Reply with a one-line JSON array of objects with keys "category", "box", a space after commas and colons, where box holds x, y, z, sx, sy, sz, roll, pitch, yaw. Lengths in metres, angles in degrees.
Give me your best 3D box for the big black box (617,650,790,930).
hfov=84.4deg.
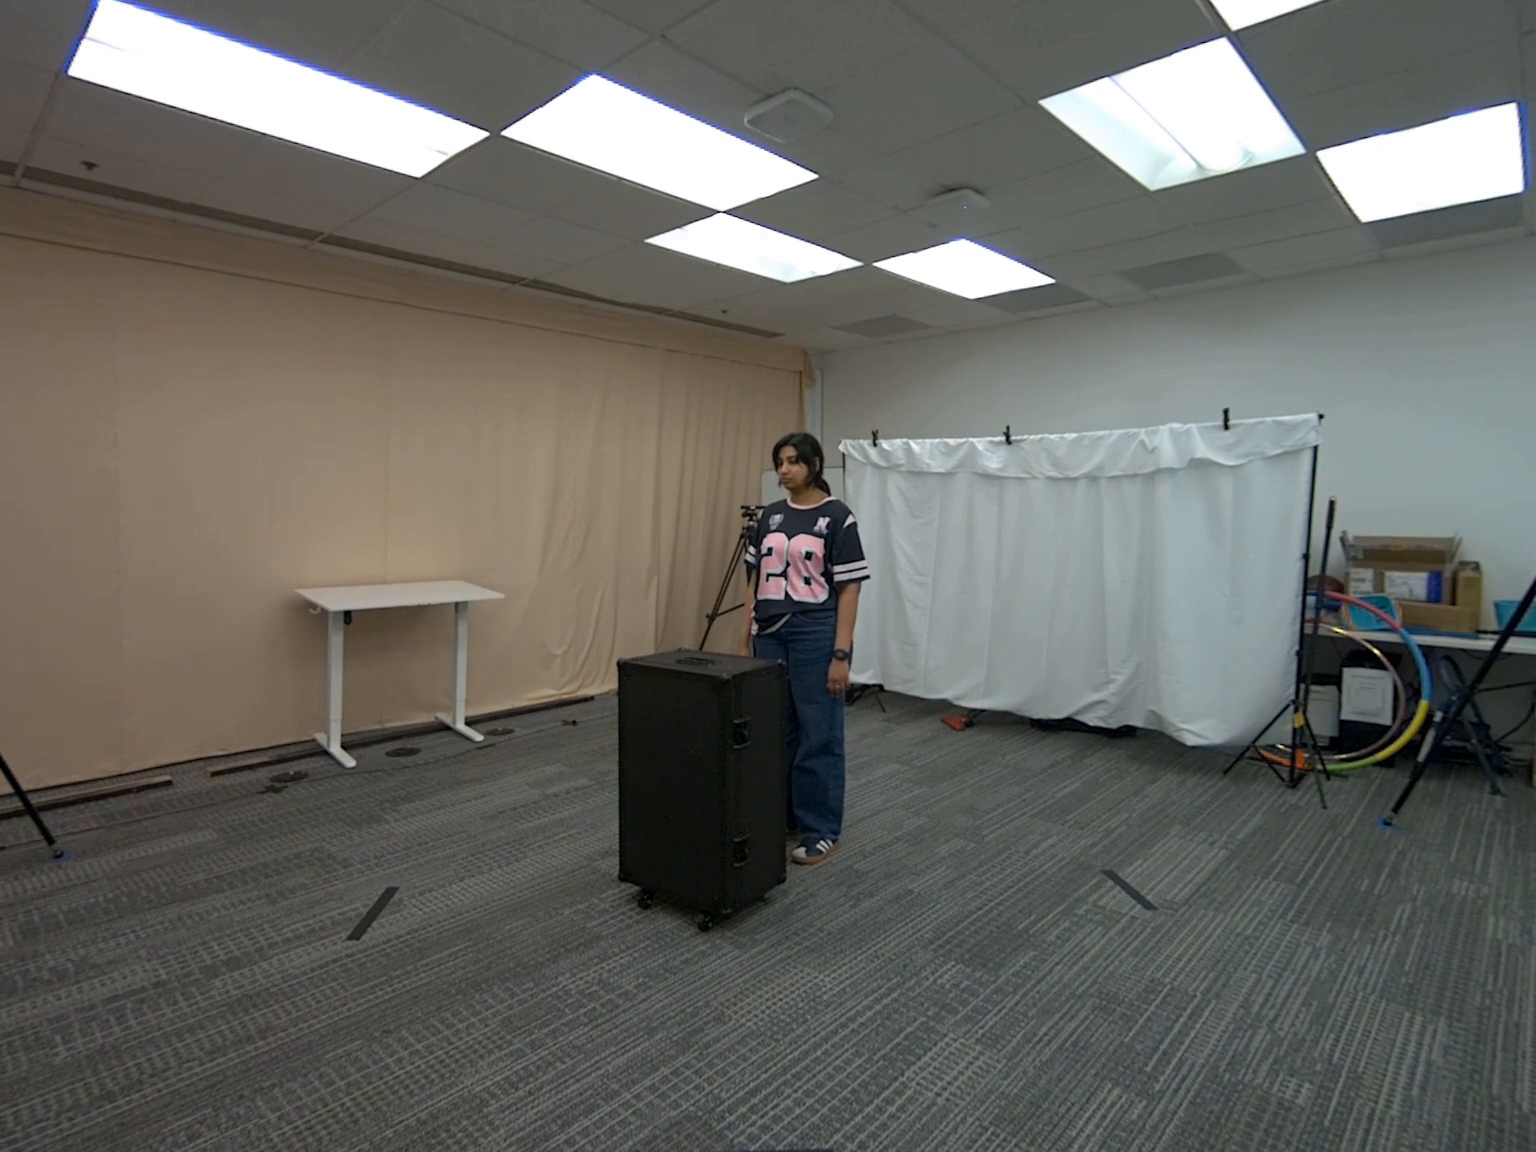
[{"category": "big black box", "box": [-0.238, 0.726, 2.965, 0.540, 0.867, 0.374, 2, 3, 35]}]
